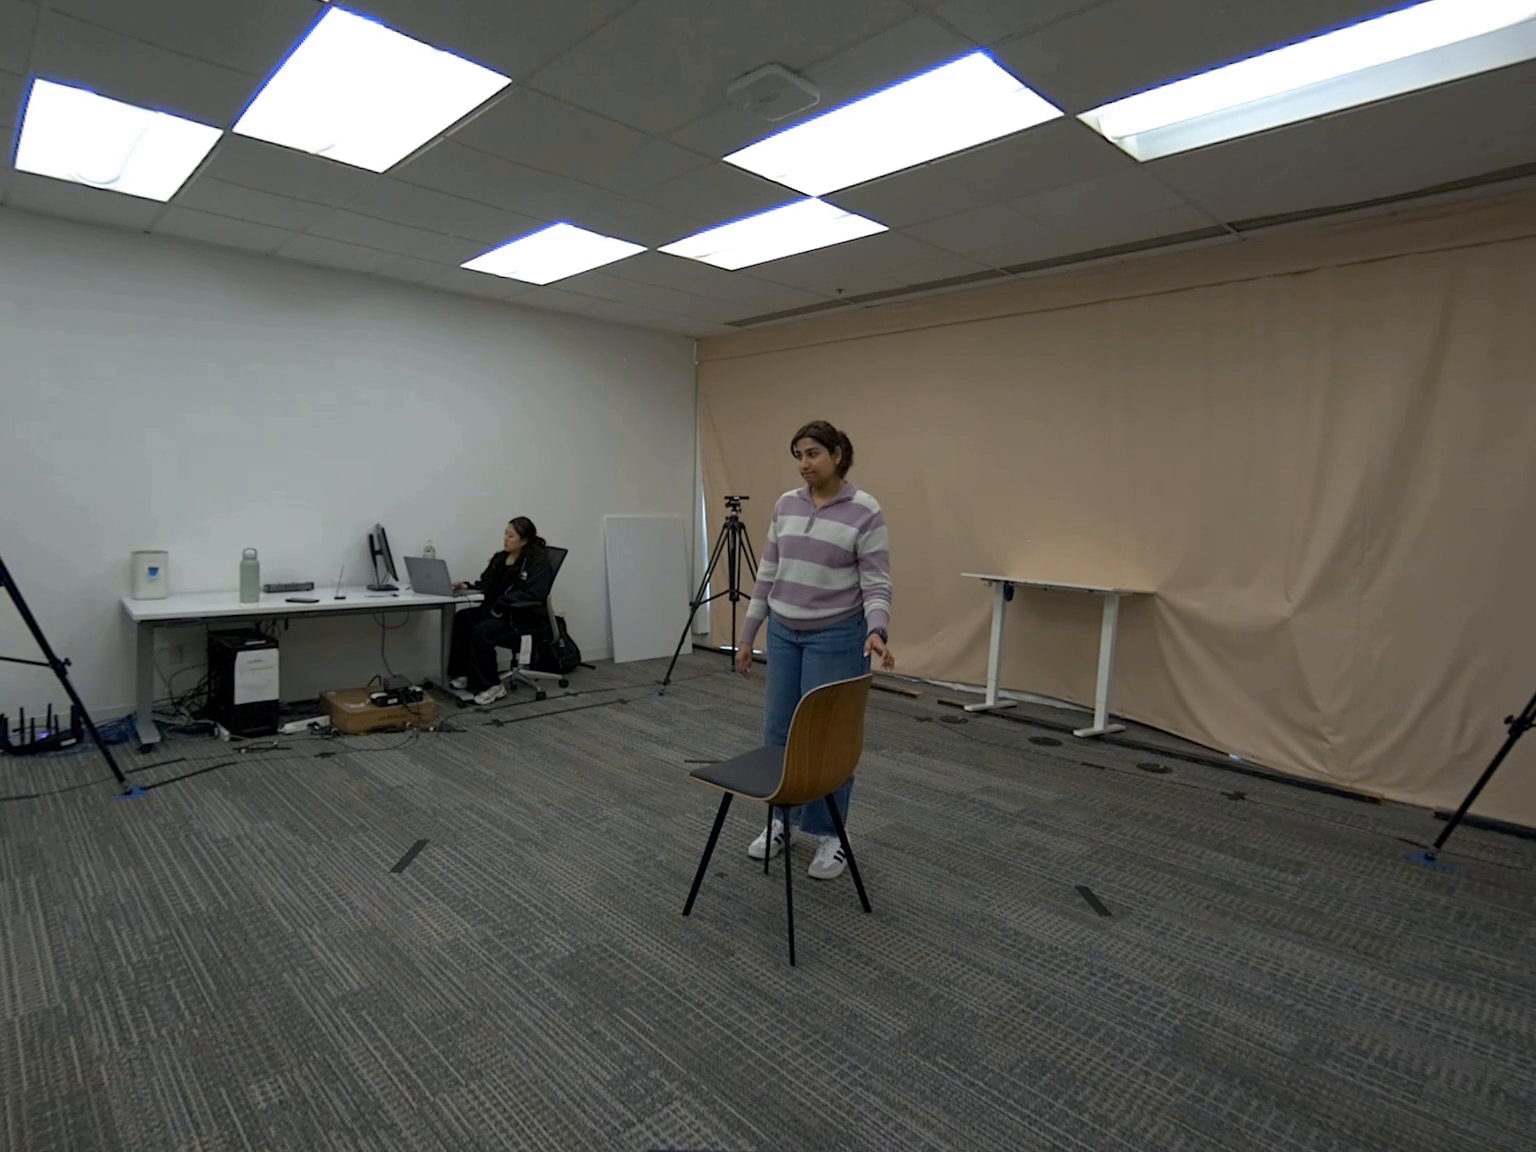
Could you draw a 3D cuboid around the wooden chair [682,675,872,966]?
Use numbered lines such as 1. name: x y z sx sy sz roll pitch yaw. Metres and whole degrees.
1. wooden chair: 0.028 0.709 2.790 0.537 0.873 0.467 10 8 38
